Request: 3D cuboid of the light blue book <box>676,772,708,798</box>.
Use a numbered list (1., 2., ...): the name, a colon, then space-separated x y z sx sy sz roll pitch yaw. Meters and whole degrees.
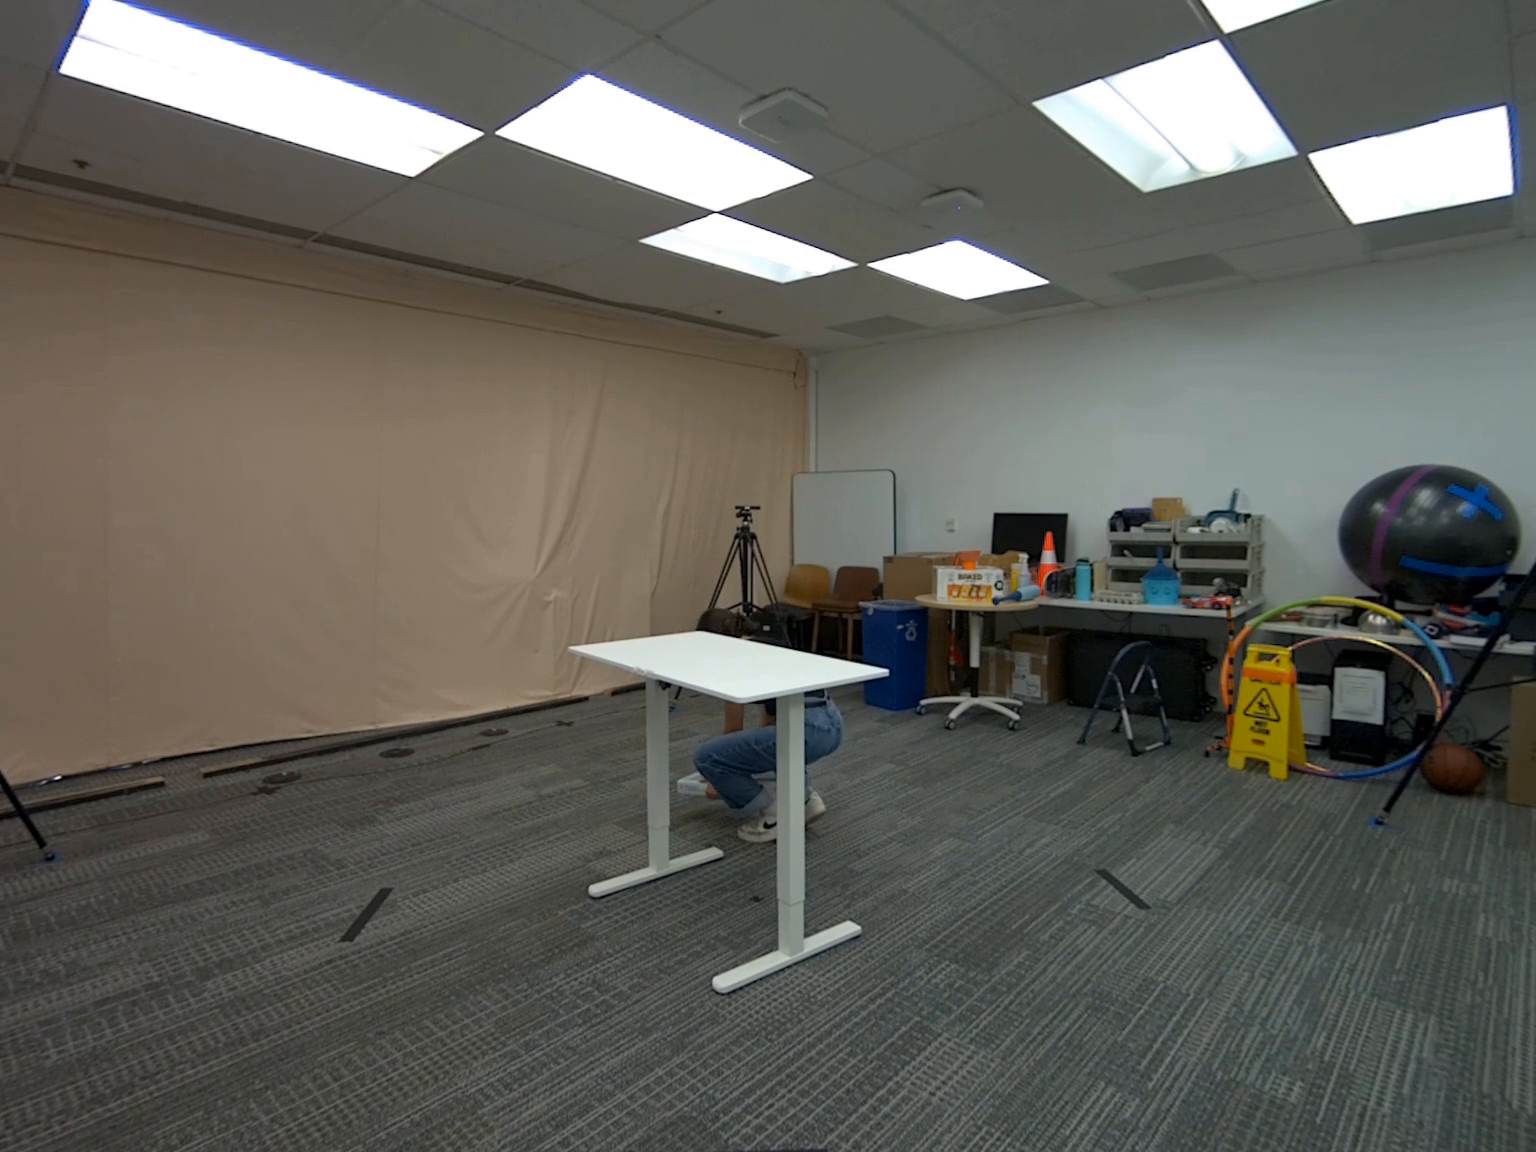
1. light blue book: -0.247 0.925 3.763 0.268 0.059 0.186 -4 0 29
